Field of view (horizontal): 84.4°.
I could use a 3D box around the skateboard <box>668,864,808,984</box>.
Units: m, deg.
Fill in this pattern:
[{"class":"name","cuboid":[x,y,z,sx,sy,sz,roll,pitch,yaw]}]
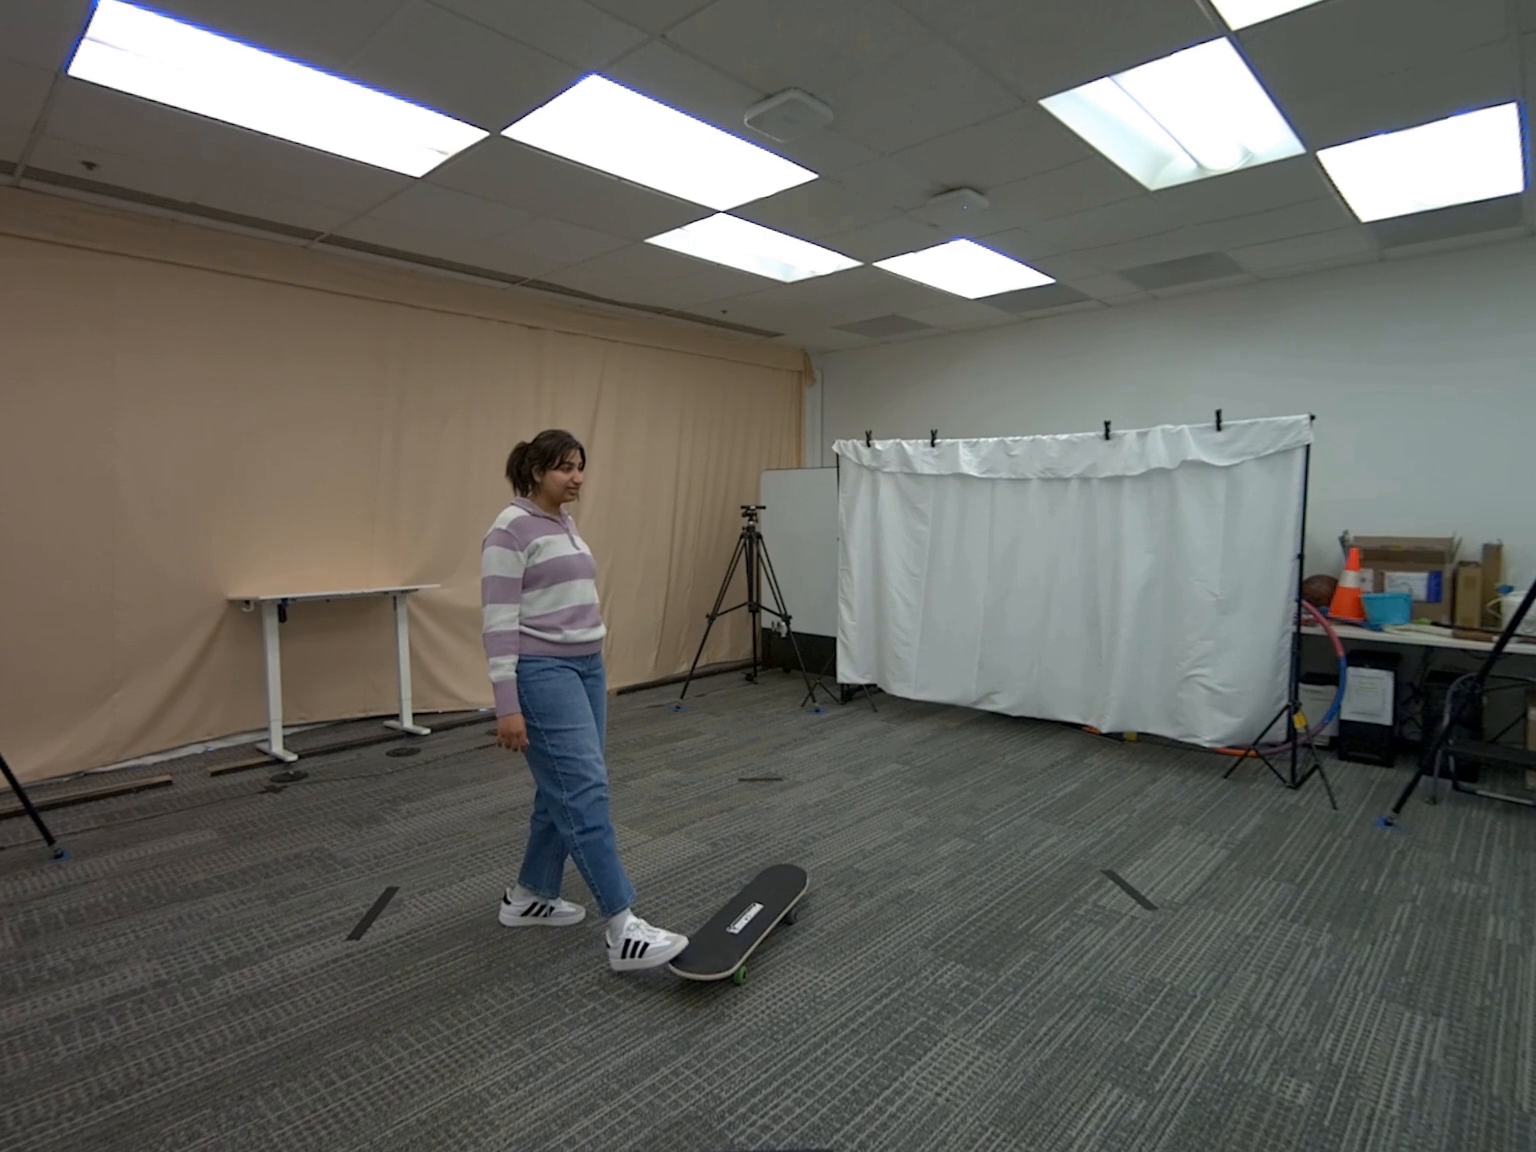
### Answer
[{"class":"skateboard","cuboid":[-0.069,1.118,2.657,0.198,0.110,0.767,2,5,24]}]
